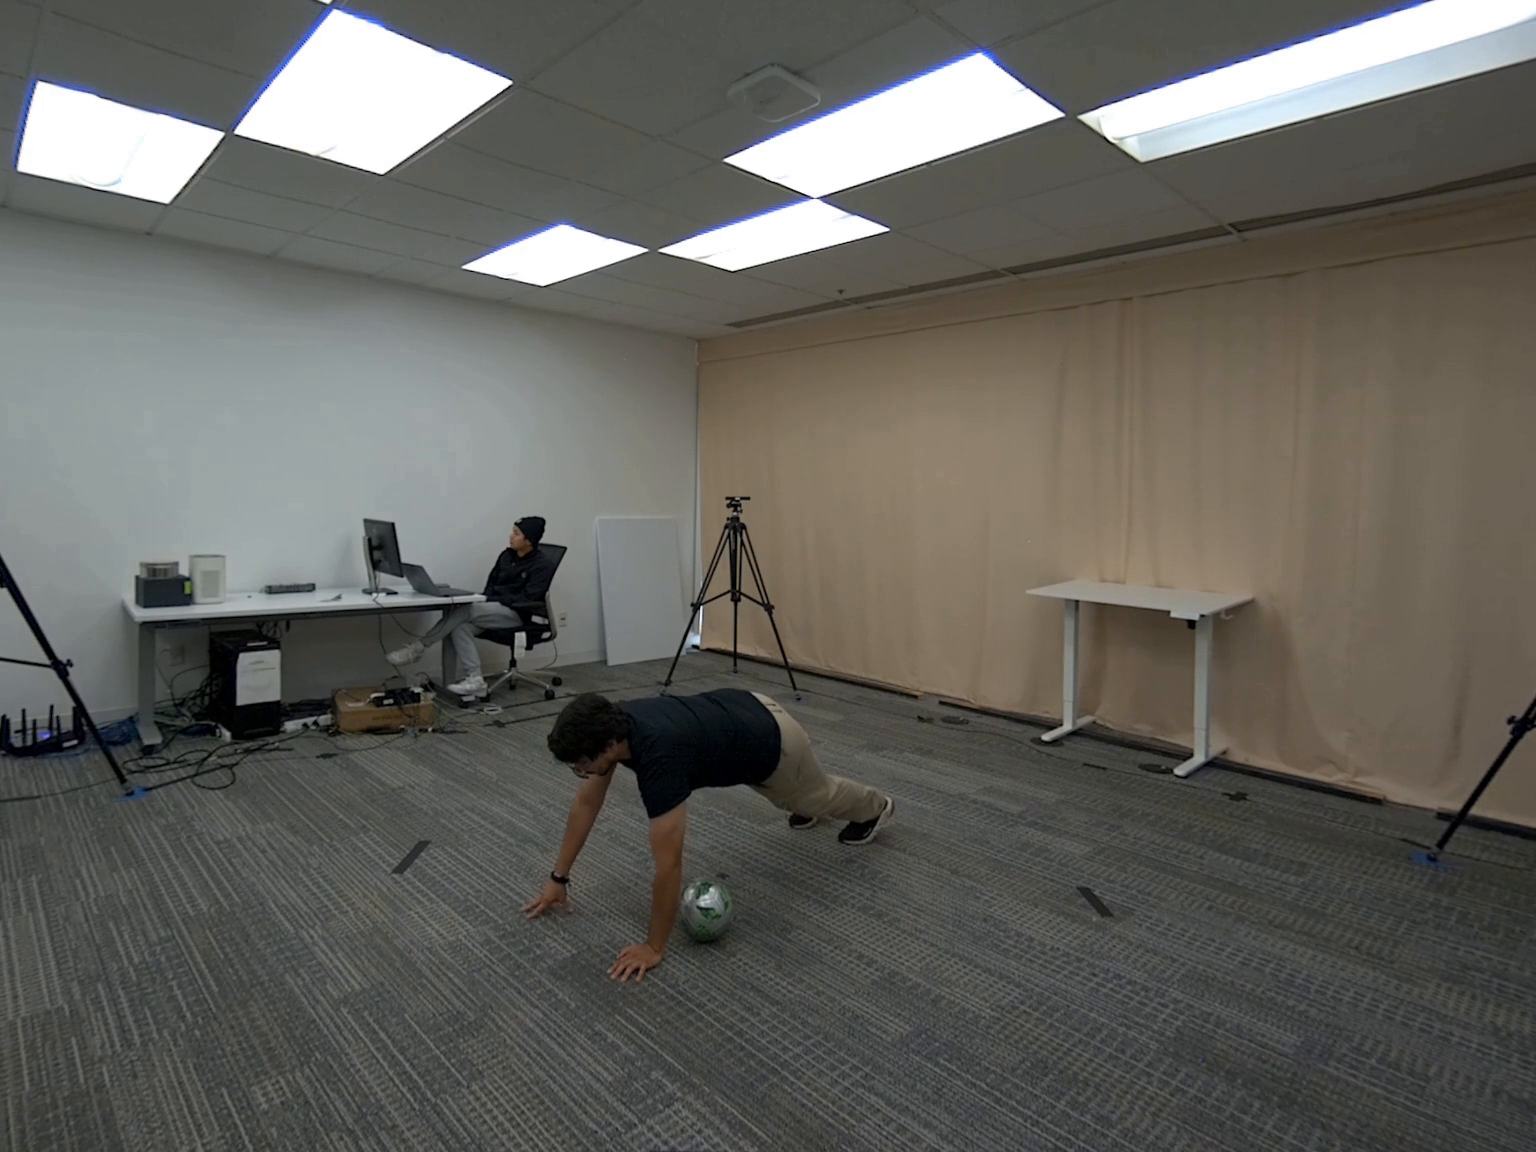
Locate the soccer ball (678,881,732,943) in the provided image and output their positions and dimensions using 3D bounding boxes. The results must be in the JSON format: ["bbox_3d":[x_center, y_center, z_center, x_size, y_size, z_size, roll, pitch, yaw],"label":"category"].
[{"bbox_3d":[-0.204,1.055,2.654,0.187,0.187,0.188,1,4,-1],"label":"soccer ball"}]
